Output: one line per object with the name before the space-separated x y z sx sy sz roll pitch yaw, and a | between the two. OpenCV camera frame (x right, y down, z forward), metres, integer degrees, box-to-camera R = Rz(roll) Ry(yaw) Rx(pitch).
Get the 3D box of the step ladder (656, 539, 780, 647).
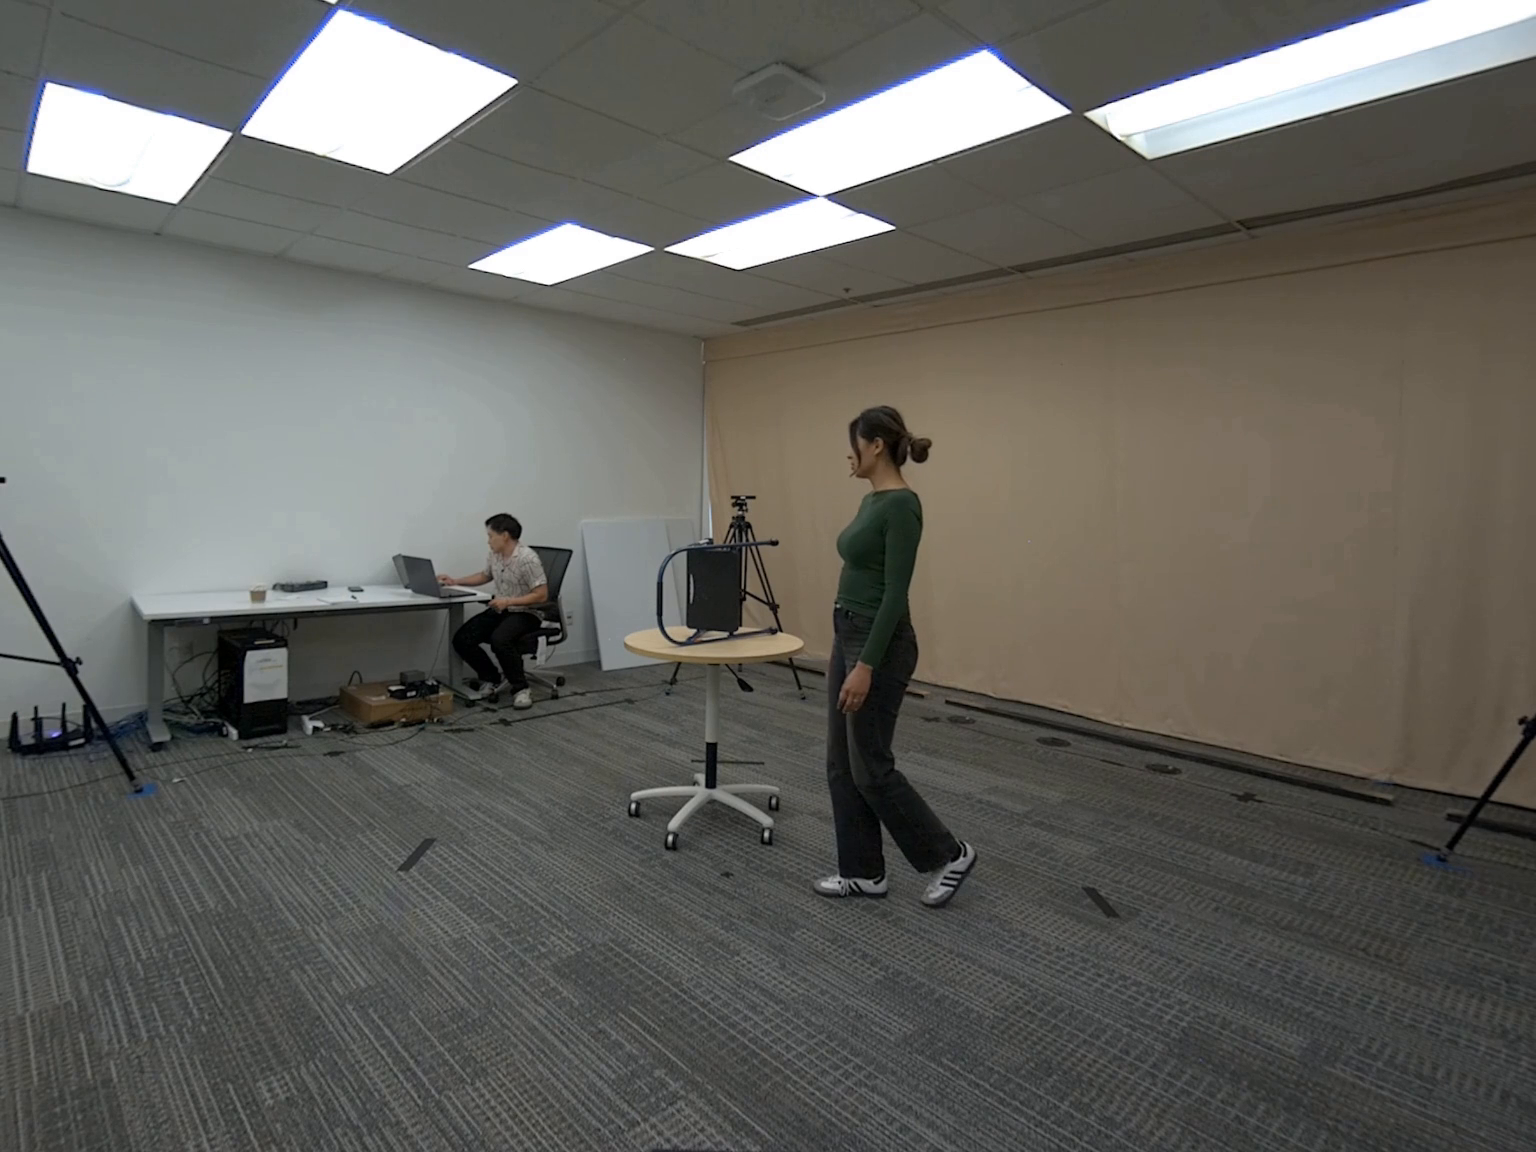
step ladder | -0.243 0.066 3.569 0.356 0.429 0.597 2 6 25
